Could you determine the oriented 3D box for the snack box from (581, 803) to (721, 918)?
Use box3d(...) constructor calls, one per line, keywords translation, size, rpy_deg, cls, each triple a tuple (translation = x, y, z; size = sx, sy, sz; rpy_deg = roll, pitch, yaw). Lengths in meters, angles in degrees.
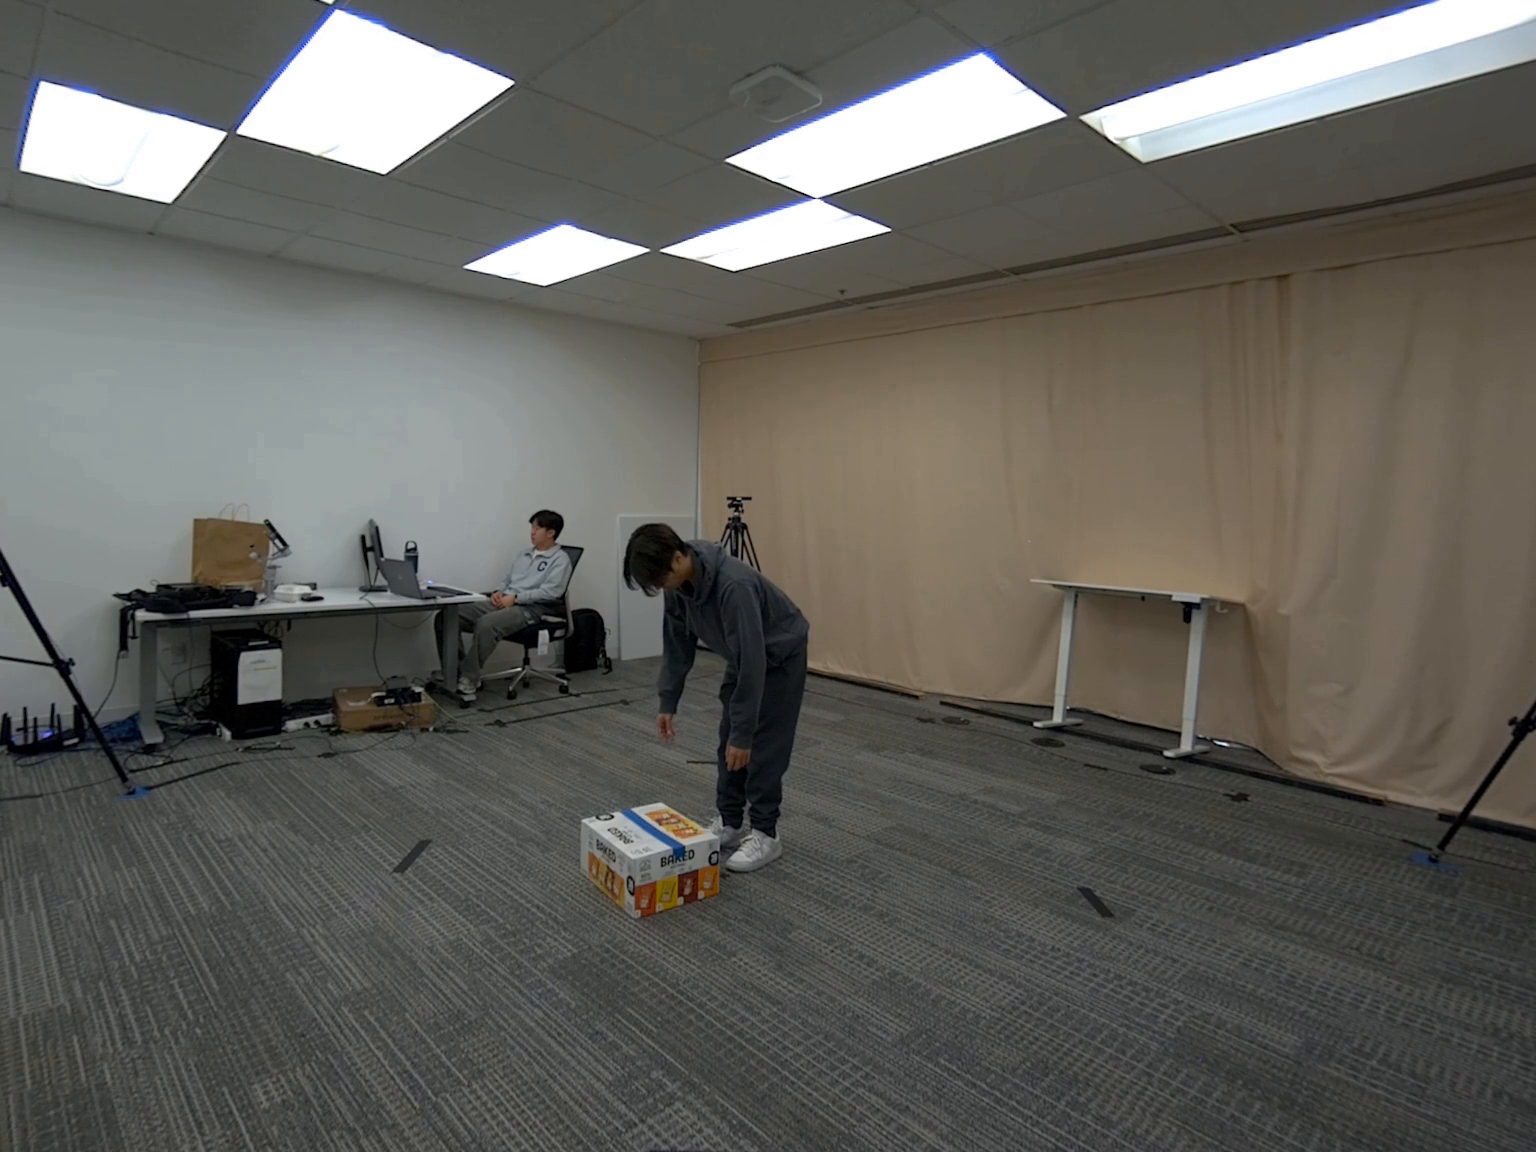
box3d(translation=(-0.436, 1.008, 3.016), size=(0.333, 0.205, 0.415), rpy_deg=(-2, 6, -37), cls="snack box")
